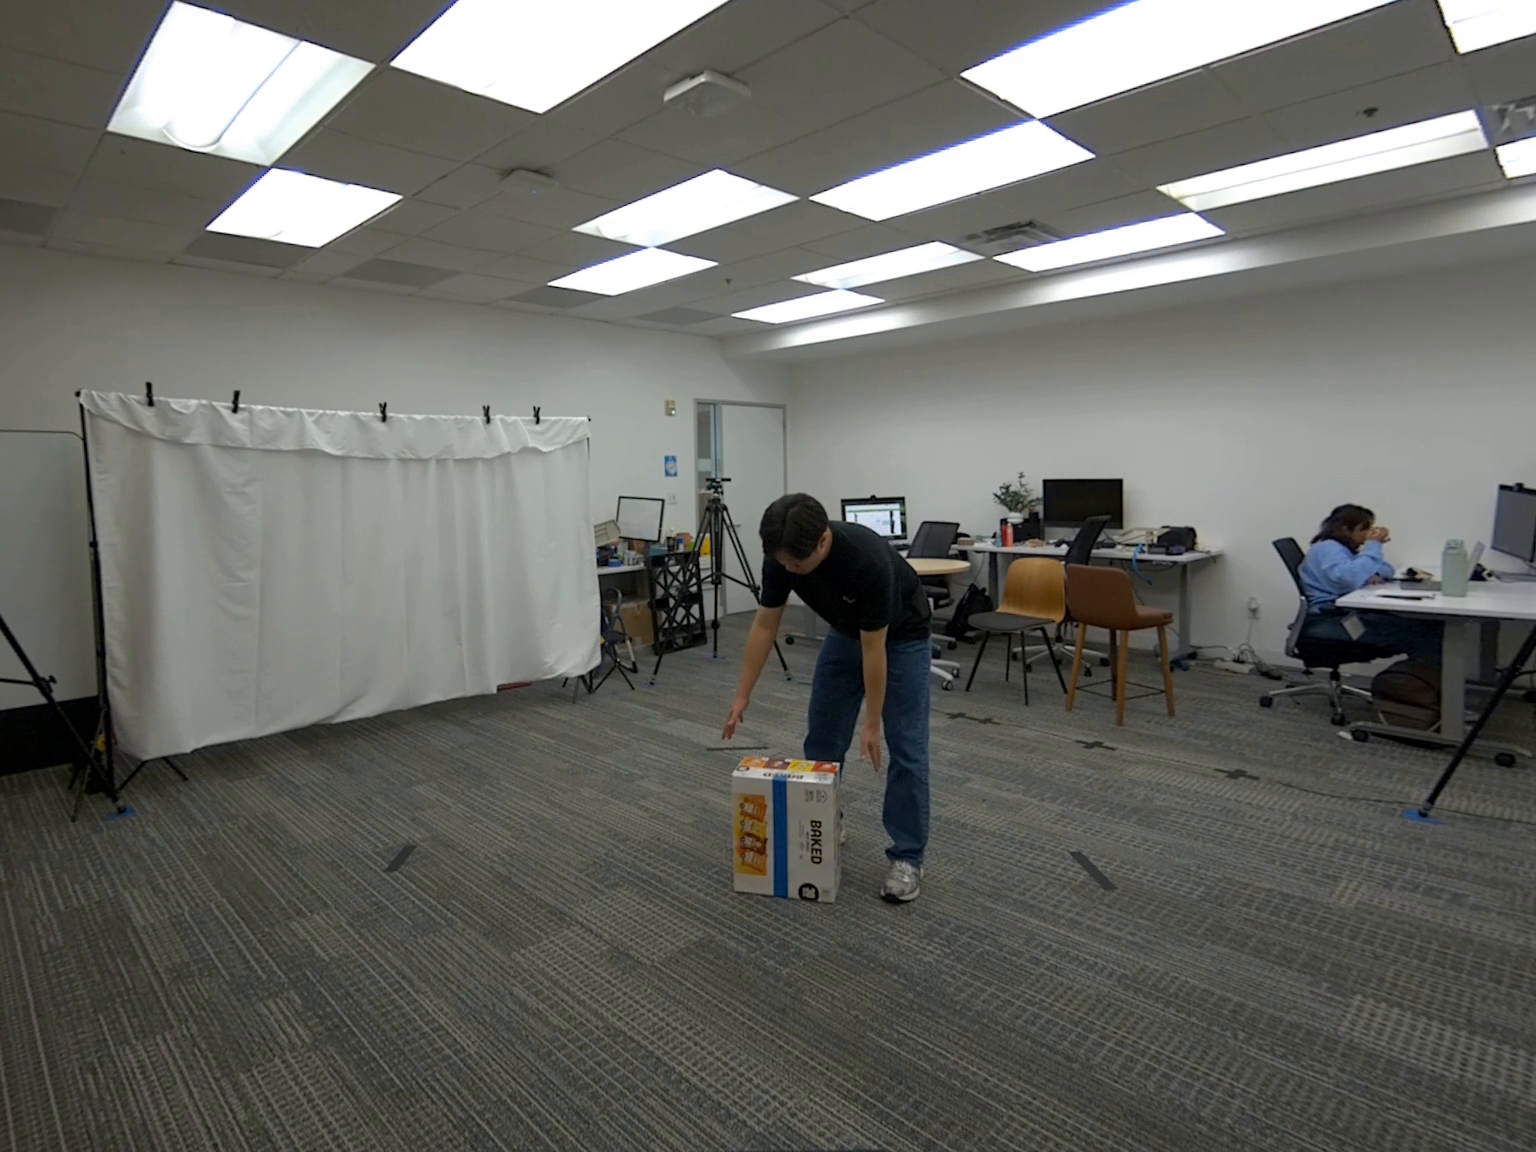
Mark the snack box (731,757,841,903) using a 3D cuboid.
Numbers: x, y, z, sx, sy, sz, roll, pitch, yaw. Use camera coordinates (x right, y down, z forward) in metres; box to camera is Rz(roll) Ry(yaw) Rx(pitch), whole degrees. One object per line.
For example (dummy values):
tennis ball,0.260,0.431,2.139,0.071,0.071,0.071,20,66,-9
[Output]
snack box,0.069,0.858,2.922,0.345,0.403,0.203,0,4,15
